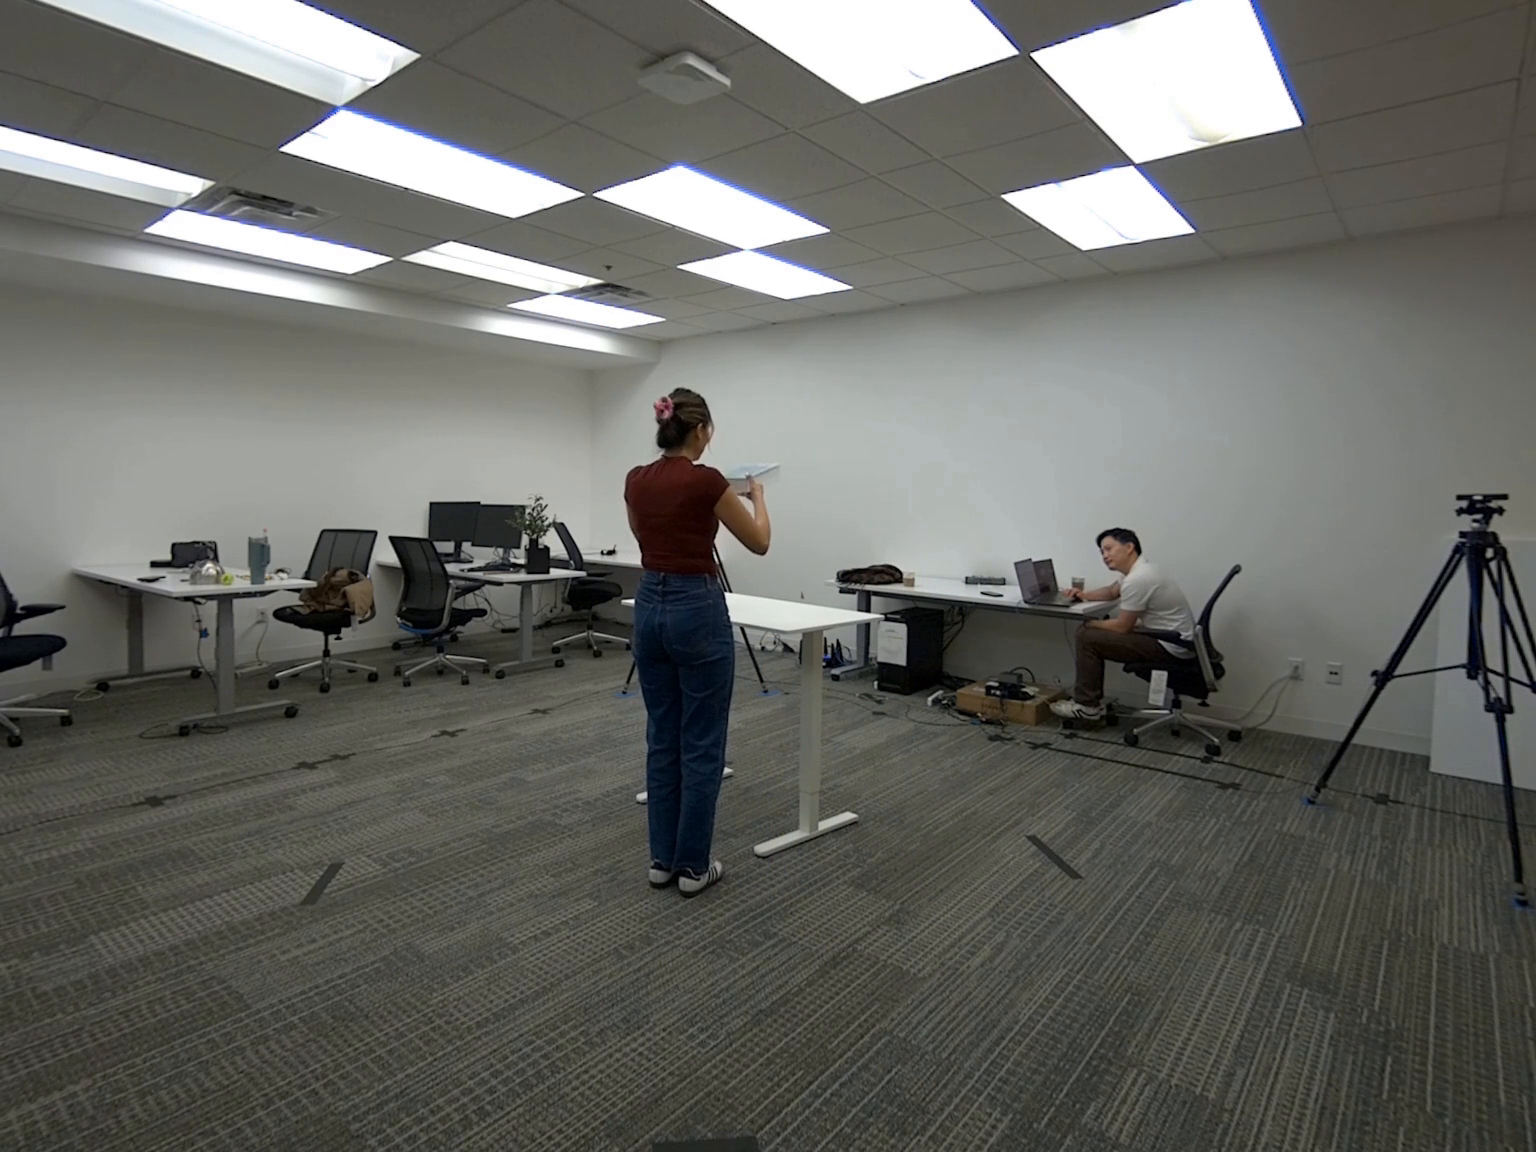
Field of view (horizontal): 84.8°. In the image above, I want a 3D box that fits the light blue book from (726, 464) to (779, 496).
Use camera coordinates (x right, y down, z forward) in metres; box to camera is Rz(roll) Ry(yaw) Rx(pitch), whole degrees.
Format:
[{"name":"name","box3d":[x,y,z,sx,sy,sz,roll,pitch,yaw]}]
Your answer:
[{"name":"light blue book","box3d":[-0.105,-0.383,3.327,0.197,0.058,0.257,3,20,31]}]
